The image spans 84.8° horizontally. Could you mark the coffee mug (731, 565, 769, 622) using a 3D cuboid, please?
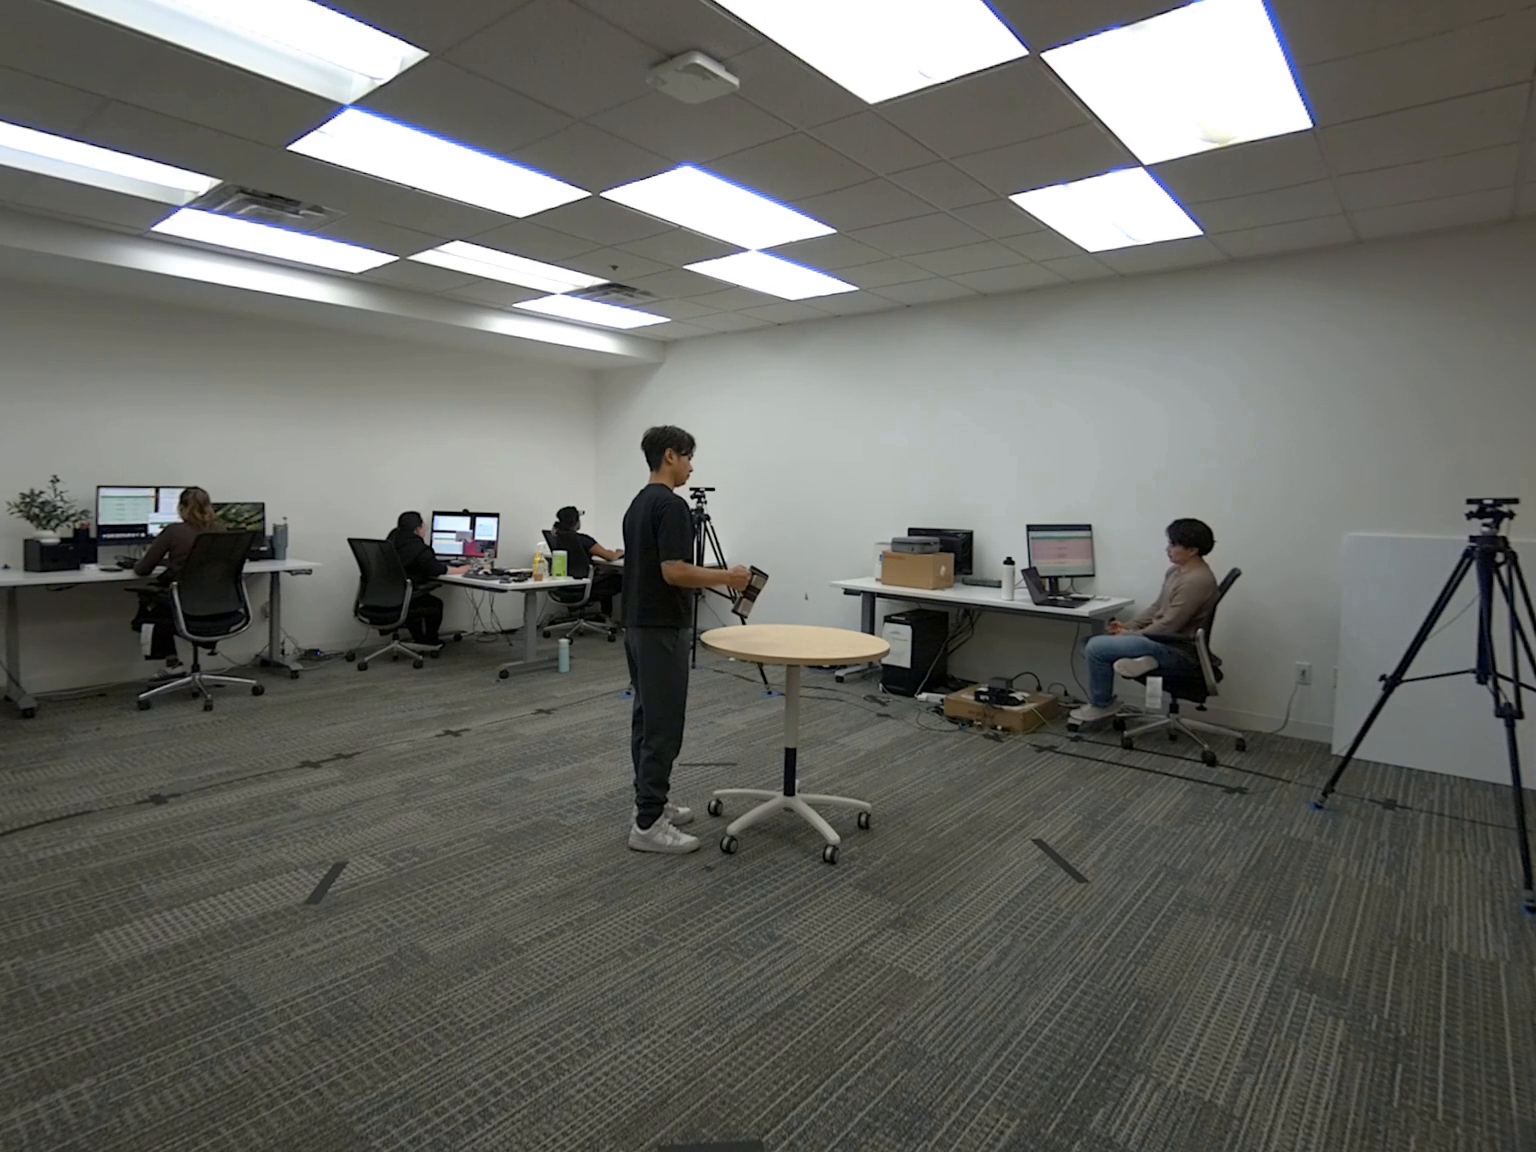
[{"bbox_3d":[-0.100,0.063,3.416,0.126,0.203,0.085,26,1,31],"label":"coffee mug"}]
